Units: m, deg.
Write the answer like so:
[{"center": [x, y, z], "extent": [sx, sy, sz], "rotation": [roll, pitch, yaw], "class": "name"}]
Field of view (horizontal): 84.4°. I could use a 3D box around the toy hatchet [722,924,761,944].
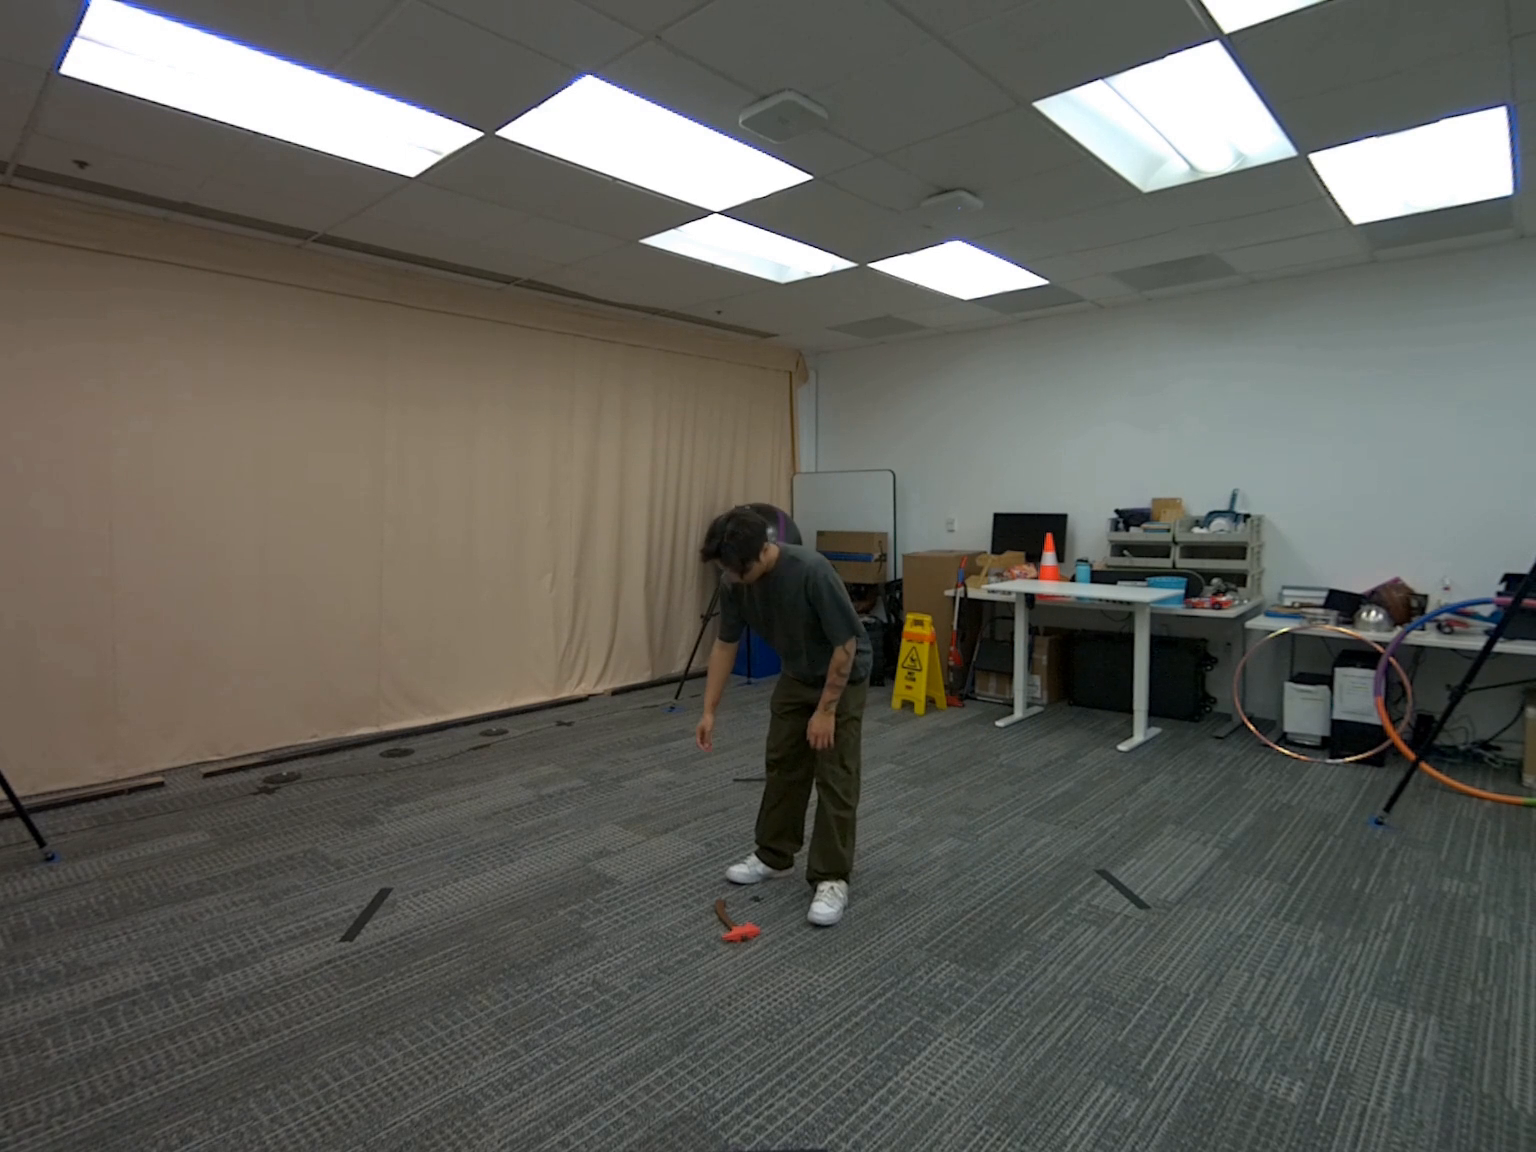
[{"center": [-0.101, 1.147, 2.813], "extent": [0.130, 0.029, 0.273], "rotation": [-2, 4, -10], "class": "toy hatchet"}]
